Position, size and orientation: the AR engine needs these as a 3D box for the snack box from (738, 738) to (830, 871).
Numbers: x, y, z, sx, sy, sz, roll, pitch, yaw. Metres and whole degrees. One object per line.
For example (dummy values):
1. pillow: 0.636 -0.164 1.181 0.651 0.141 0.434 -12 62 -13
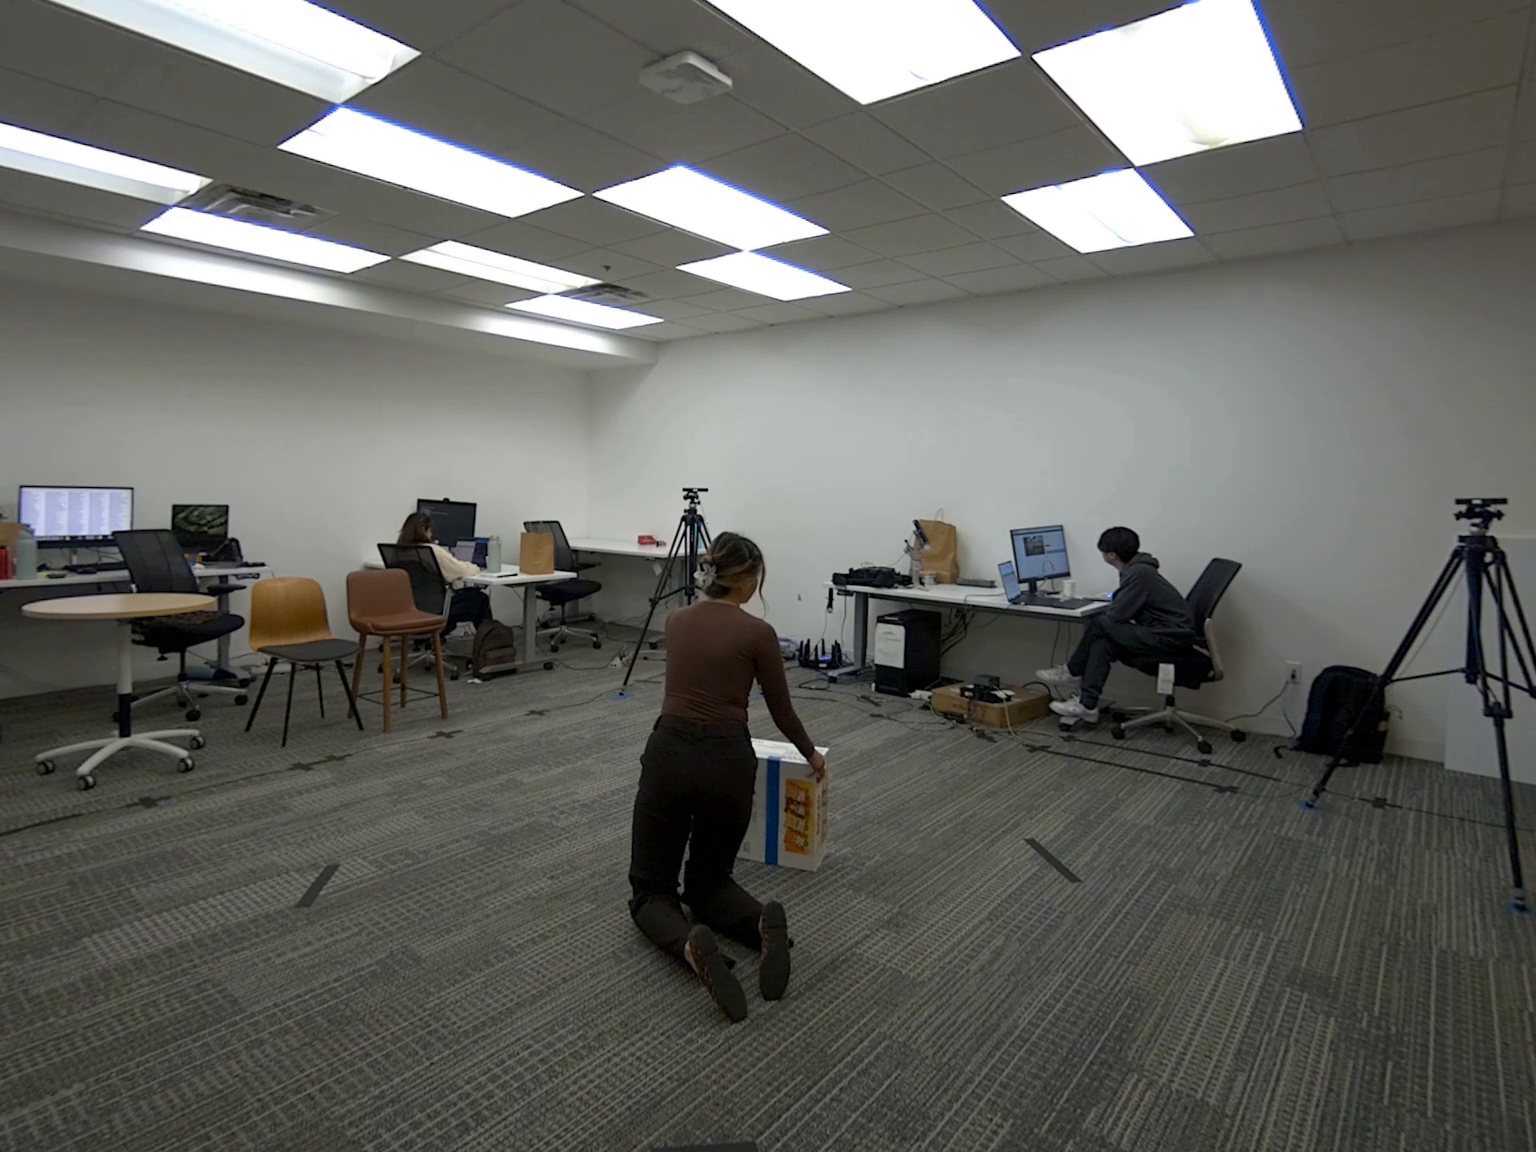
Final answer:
1. snack box: 0.037 0.860 3.241 0.348 0.403 0.202 2 5 20
